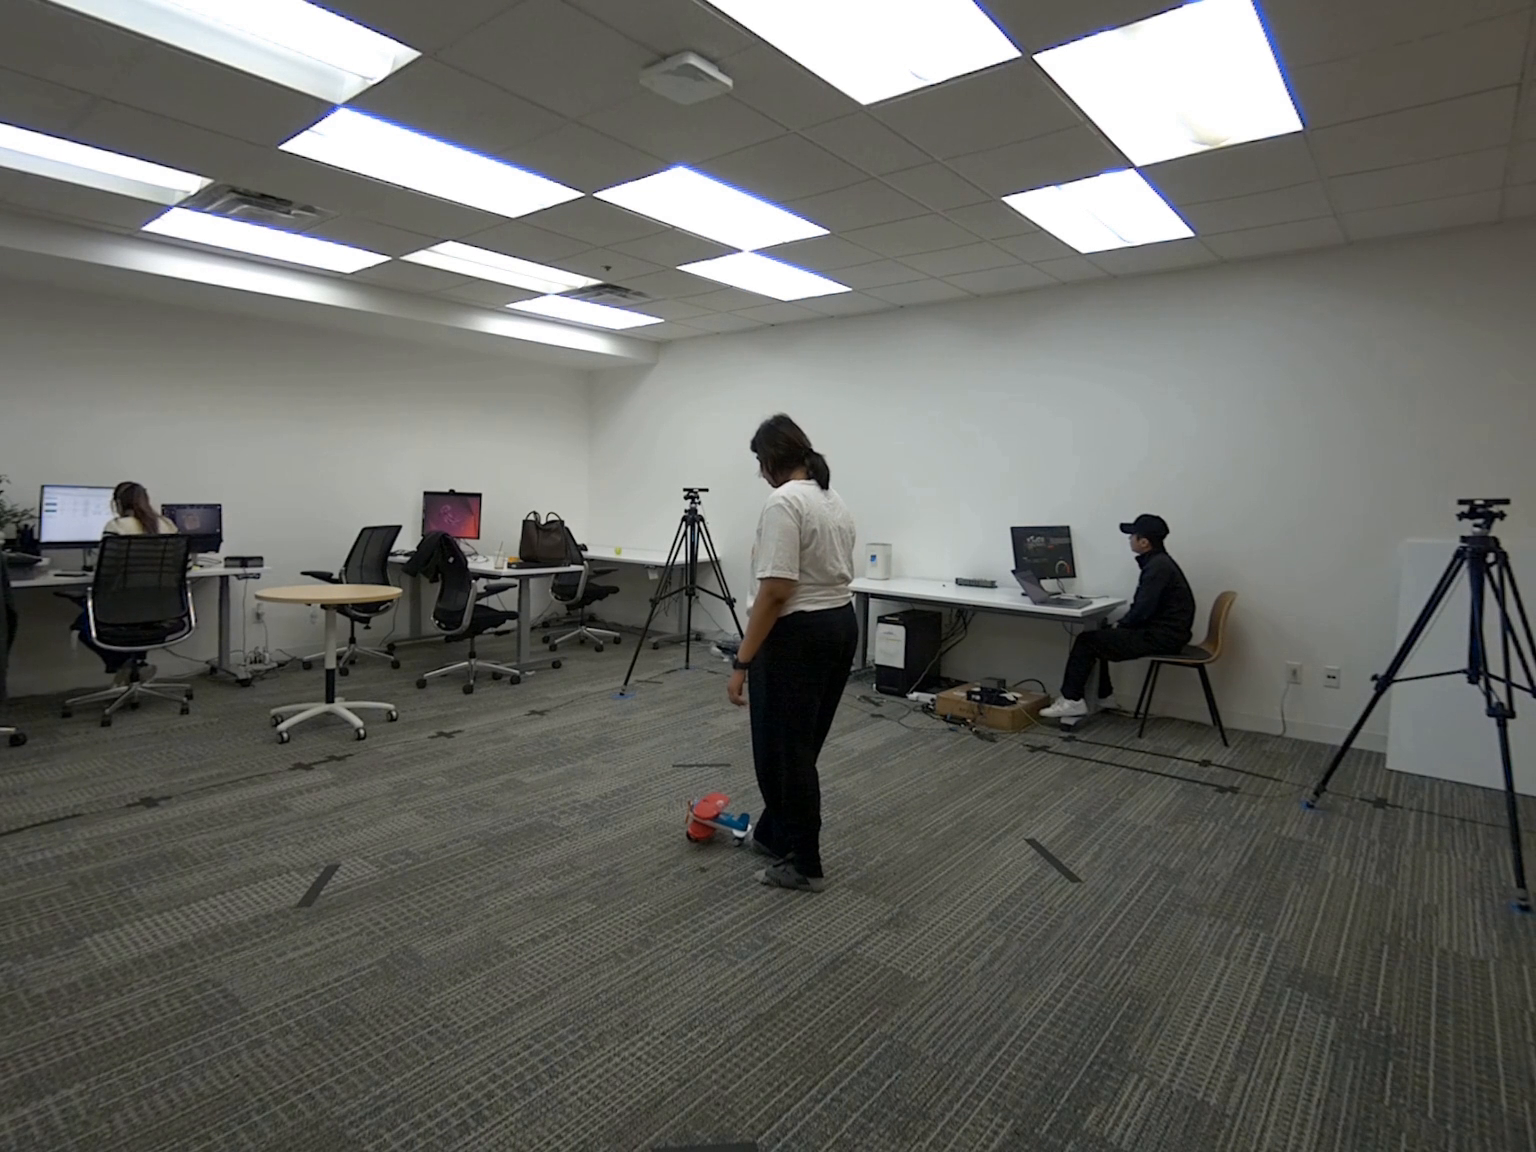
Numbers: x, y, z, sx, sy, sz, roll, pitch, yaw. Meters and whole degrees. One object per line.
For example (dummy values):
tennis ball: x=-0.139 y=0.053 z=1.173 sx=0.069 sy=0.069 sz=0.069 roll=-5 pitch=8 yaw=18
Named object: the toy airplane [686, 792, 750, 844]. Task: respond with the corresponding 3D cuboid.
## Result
toy airplane: x=-0.206 y=0.966 z=3.386 sx=0.257 sy=0.156 sz=0.254 roll=-1 pitch=4 yaw=-9
